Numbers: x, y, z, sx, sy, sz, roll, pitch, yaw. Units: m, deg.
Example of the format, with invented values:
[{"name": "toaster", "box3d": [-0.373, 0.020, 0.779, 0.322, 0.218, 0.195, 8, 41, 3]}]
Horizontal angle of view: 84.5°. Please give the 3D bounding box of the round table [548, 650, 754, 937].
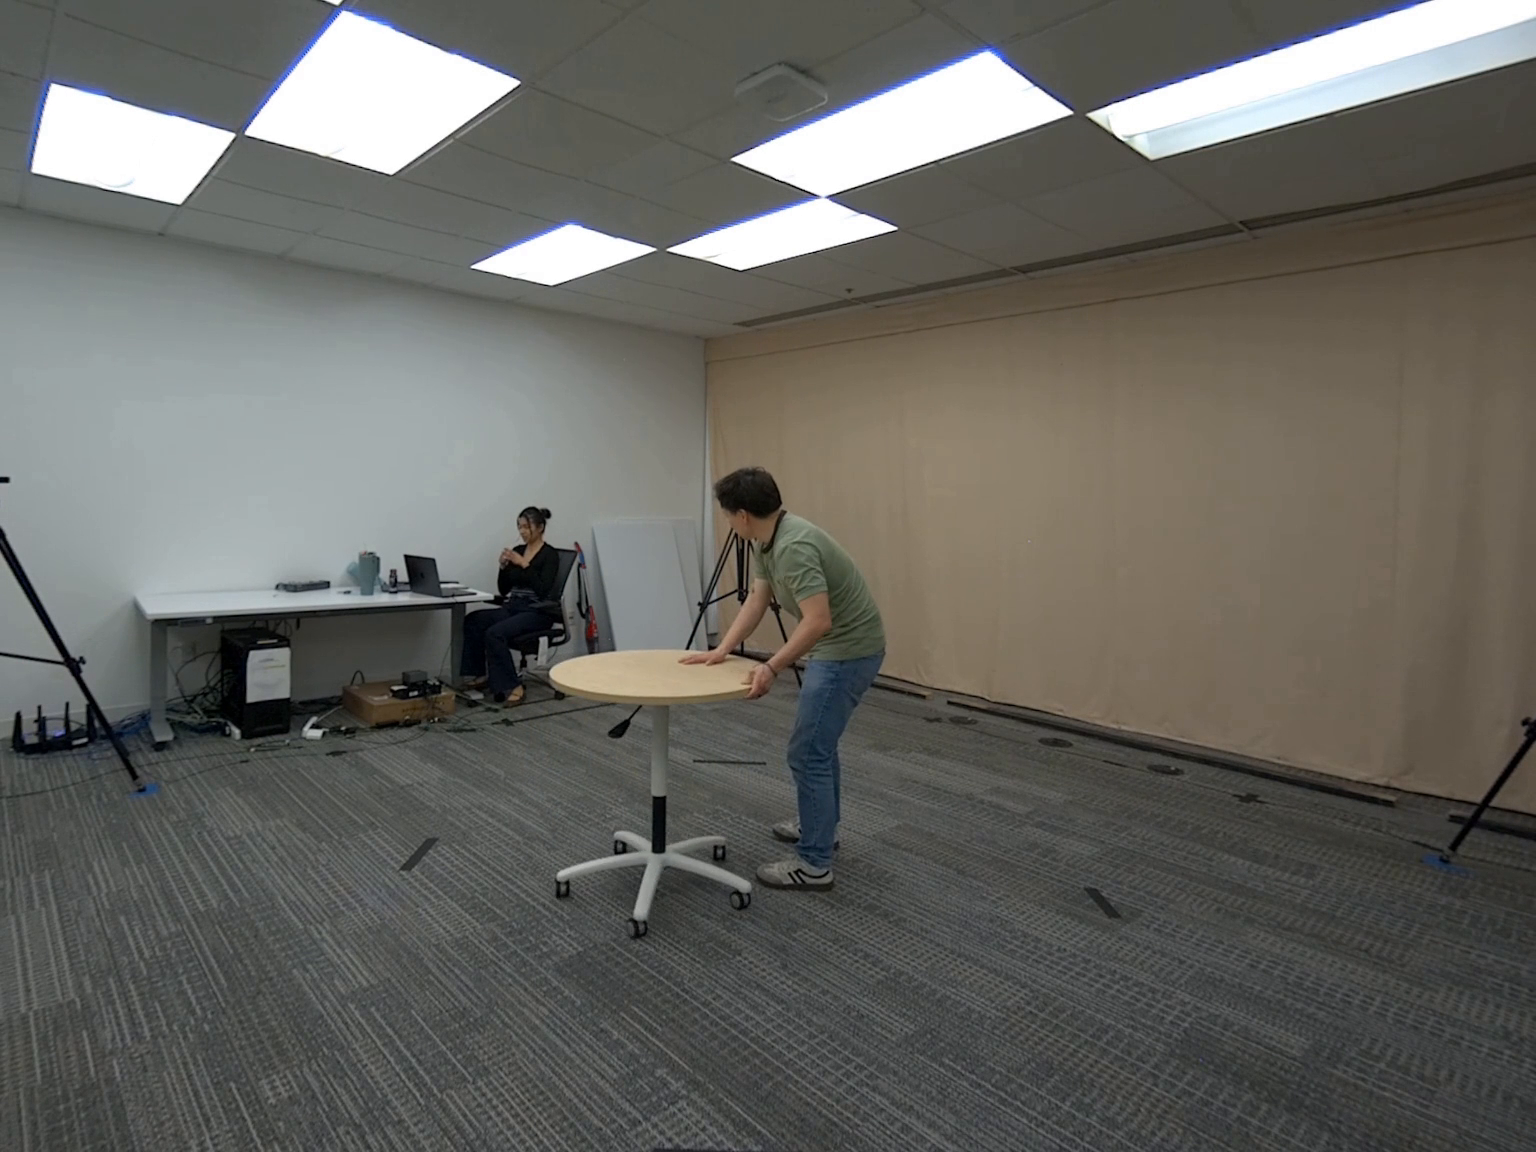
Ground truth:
[{"name": "round table", "box3d": [-0.381, 0.723, 2.945, 0.763, 0.792, 0.767, 1, 4, -1]}]
